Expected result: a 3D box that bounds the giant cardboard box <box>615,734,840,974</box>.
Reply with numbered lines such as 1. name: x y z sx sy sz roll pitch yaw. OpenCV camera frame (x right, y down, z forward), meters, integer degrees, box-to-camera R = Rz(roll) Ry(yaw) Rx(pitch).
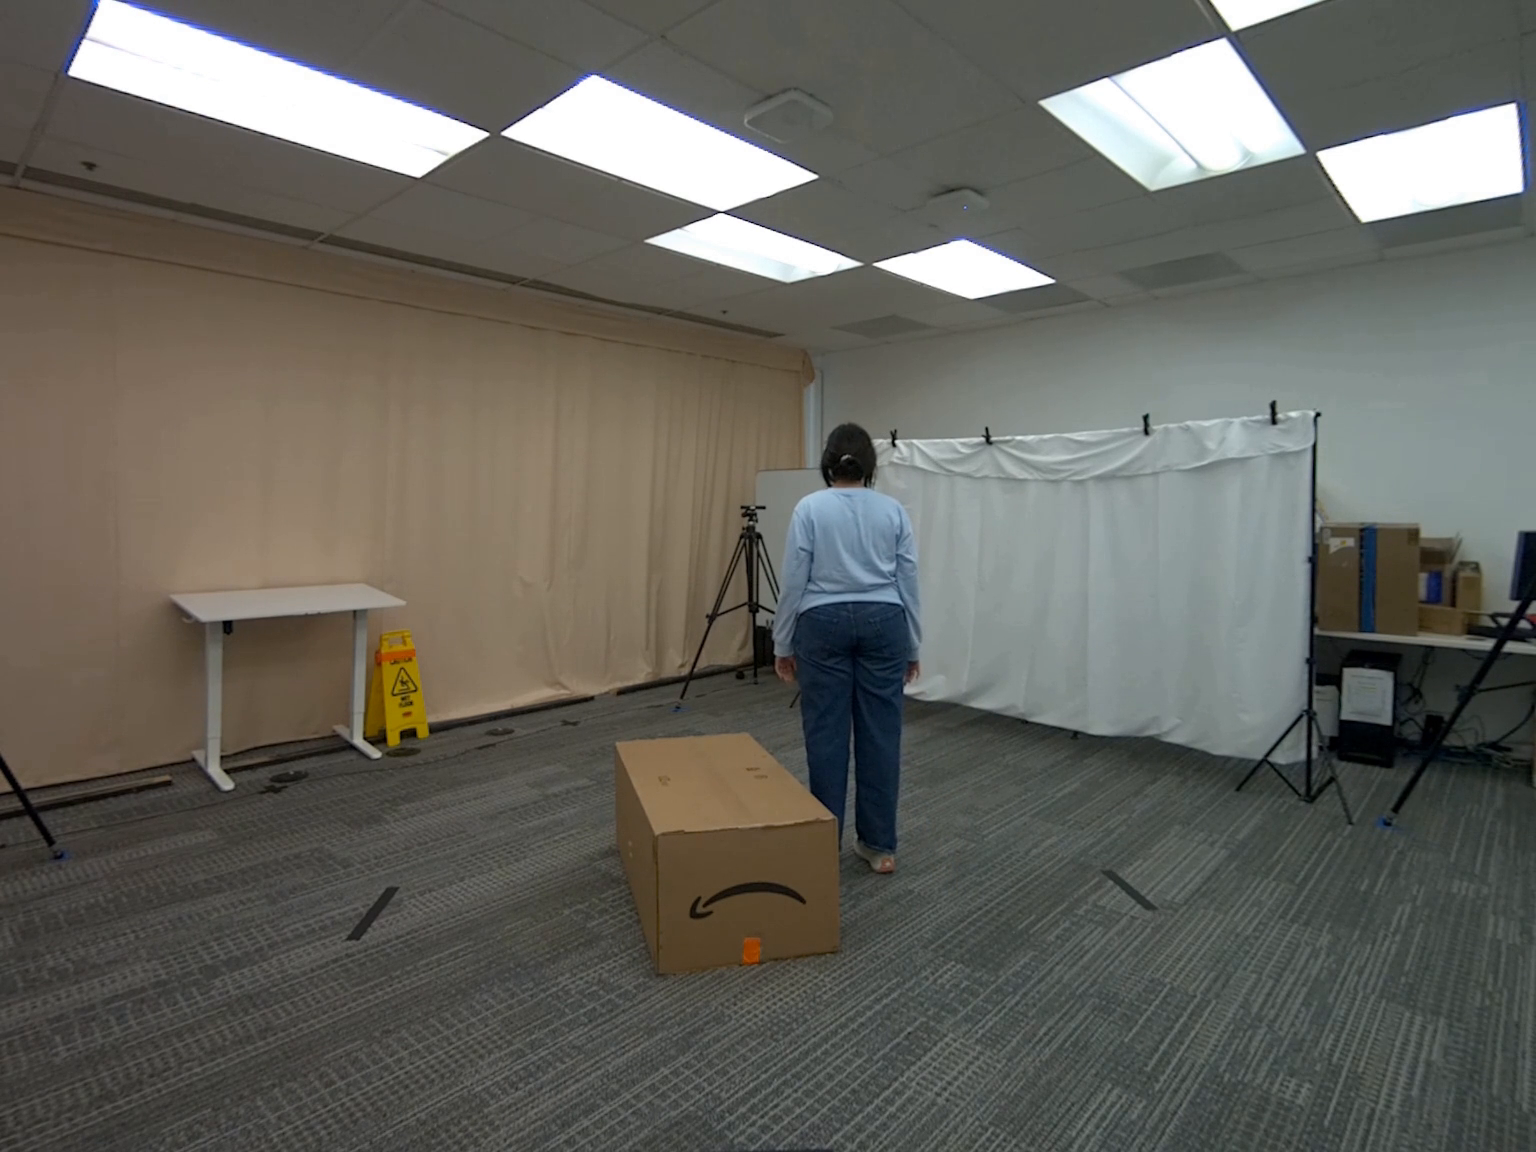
1. giant cardboard box: -0.203 0.926 3.040 0.569 0.425 1.044 -1 5 -16
